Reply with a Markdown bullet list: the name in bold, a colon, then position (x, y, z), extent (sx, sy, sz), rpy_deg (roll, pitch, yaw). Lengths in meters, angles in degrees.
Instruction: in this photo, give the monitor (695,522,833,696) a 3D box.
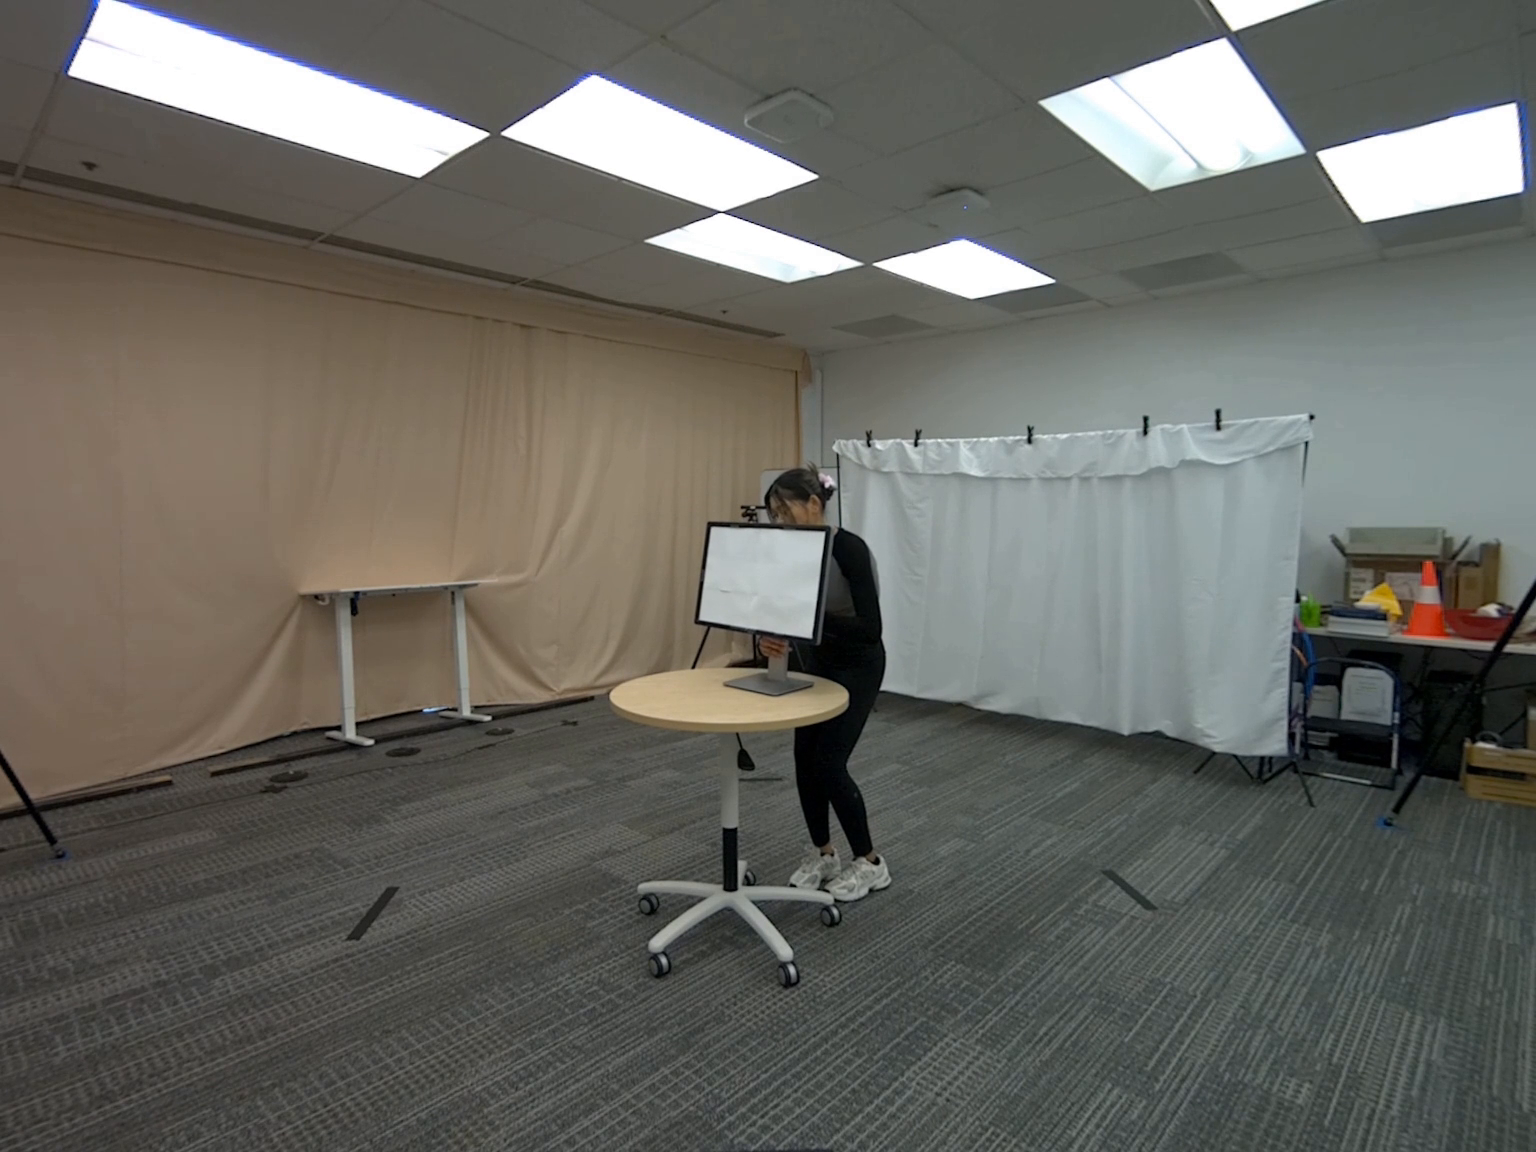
- **monitor**: position (0.001, 0.100, 2.781), extent (0.557, 0.521, 0.181), rpy_deg (4, 7, 44)
